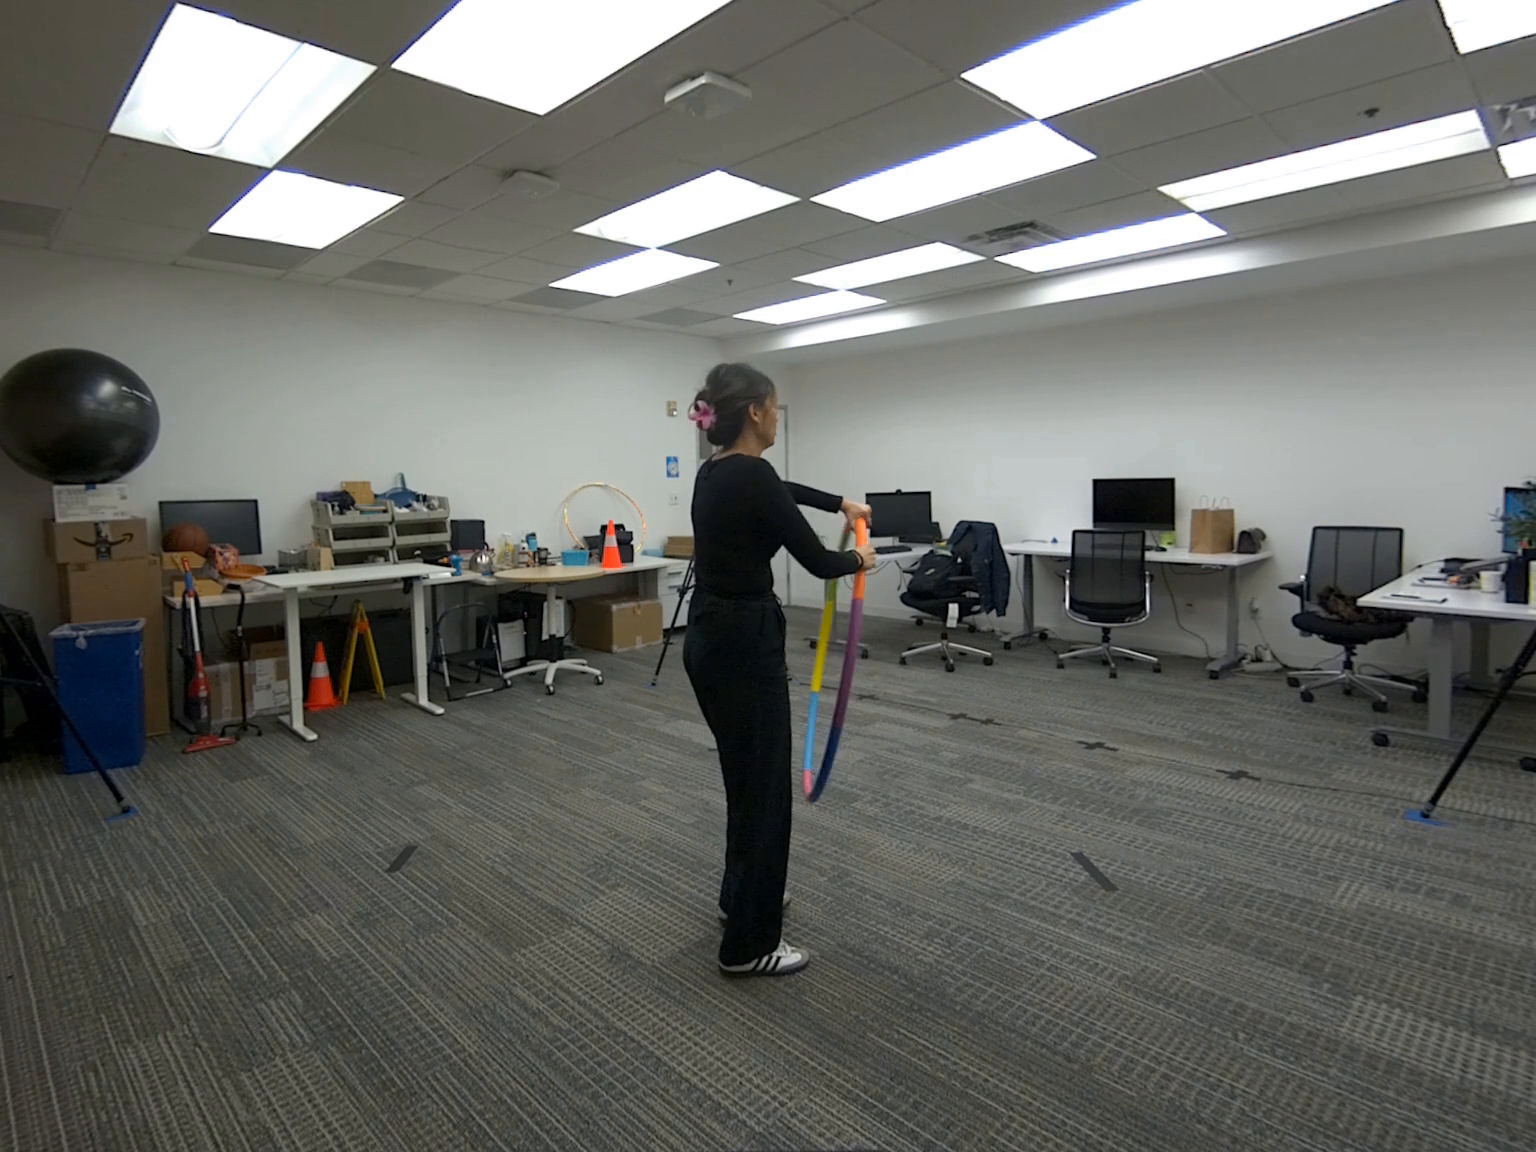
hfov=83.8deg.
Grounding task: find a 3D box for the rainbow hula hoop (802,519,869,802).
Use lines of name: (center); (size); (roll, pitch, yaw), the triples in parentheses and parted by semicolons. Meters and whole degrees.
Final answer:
rainbow hula hoop: (0.233, 0.265, 2.896); (0.052, 0.982, 0.986); (9, 5, 1)
